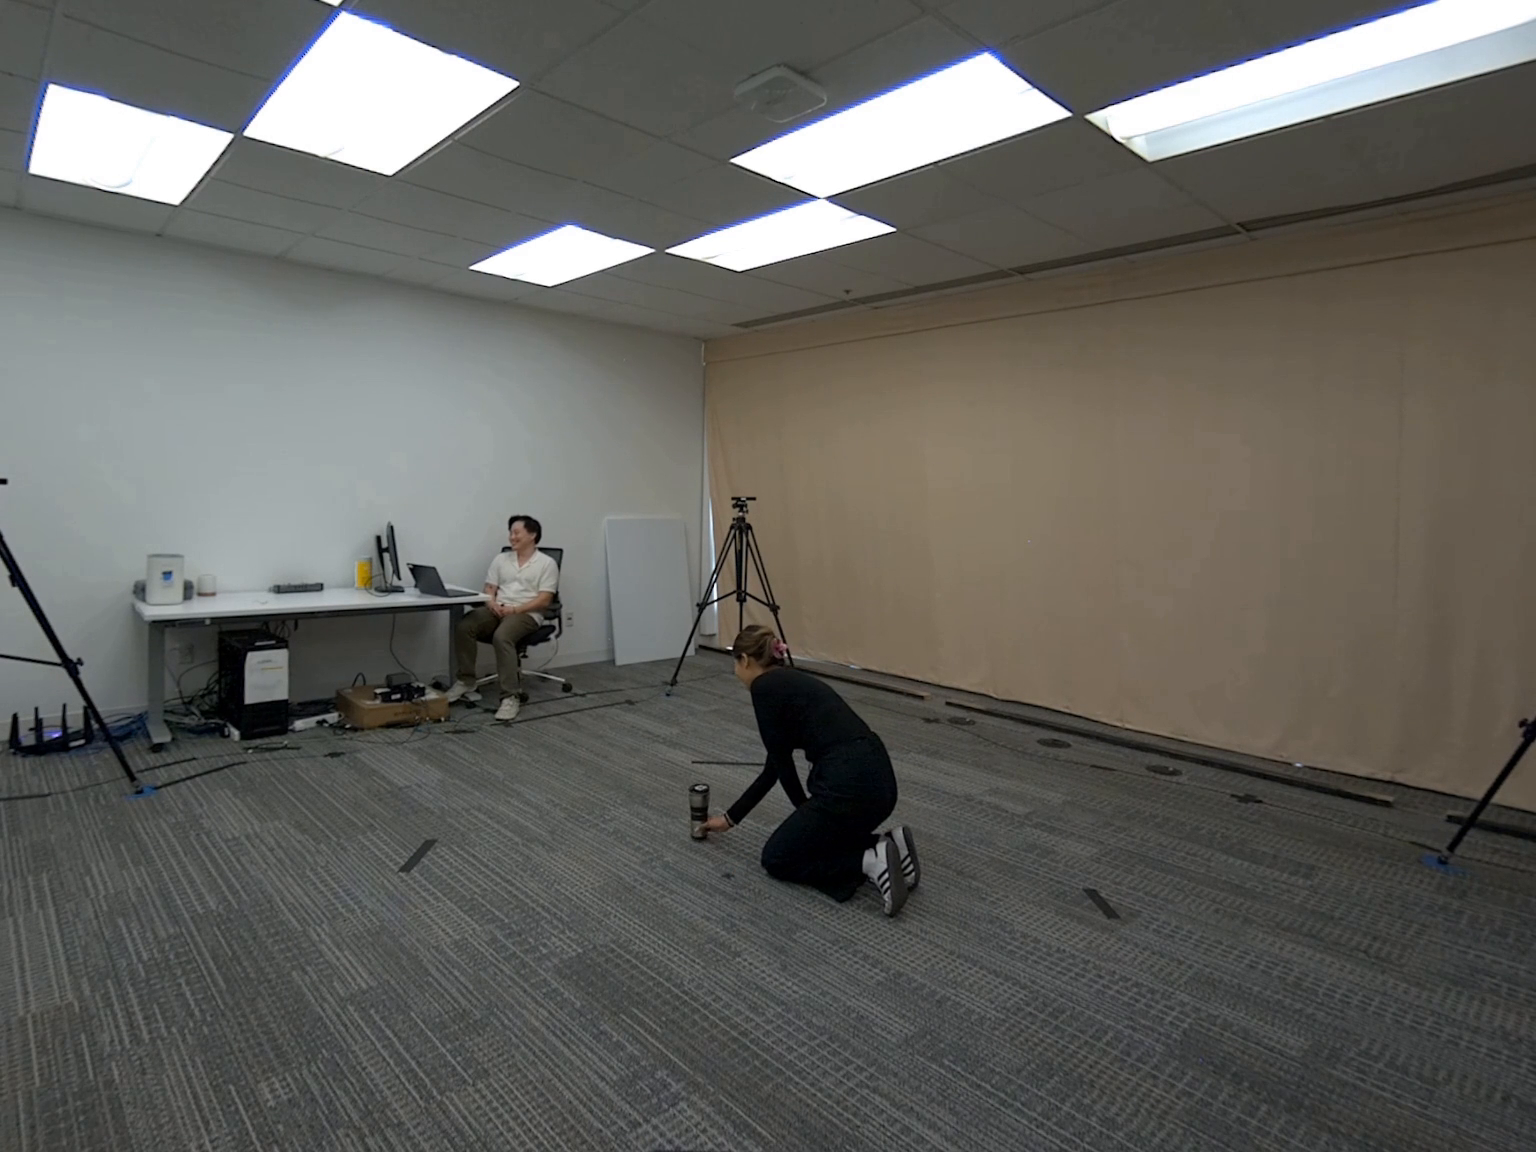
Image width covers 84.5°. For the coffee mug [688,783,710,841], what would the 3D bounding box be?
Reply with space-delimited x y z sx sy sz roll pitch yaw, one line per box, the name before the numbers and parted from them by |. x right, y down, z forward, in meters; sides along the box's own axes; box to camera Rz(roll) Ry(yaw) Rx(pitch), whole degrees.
coffee mug | -0.273 0.949 3.461 0.089 0.202 0.120 0 4 23
